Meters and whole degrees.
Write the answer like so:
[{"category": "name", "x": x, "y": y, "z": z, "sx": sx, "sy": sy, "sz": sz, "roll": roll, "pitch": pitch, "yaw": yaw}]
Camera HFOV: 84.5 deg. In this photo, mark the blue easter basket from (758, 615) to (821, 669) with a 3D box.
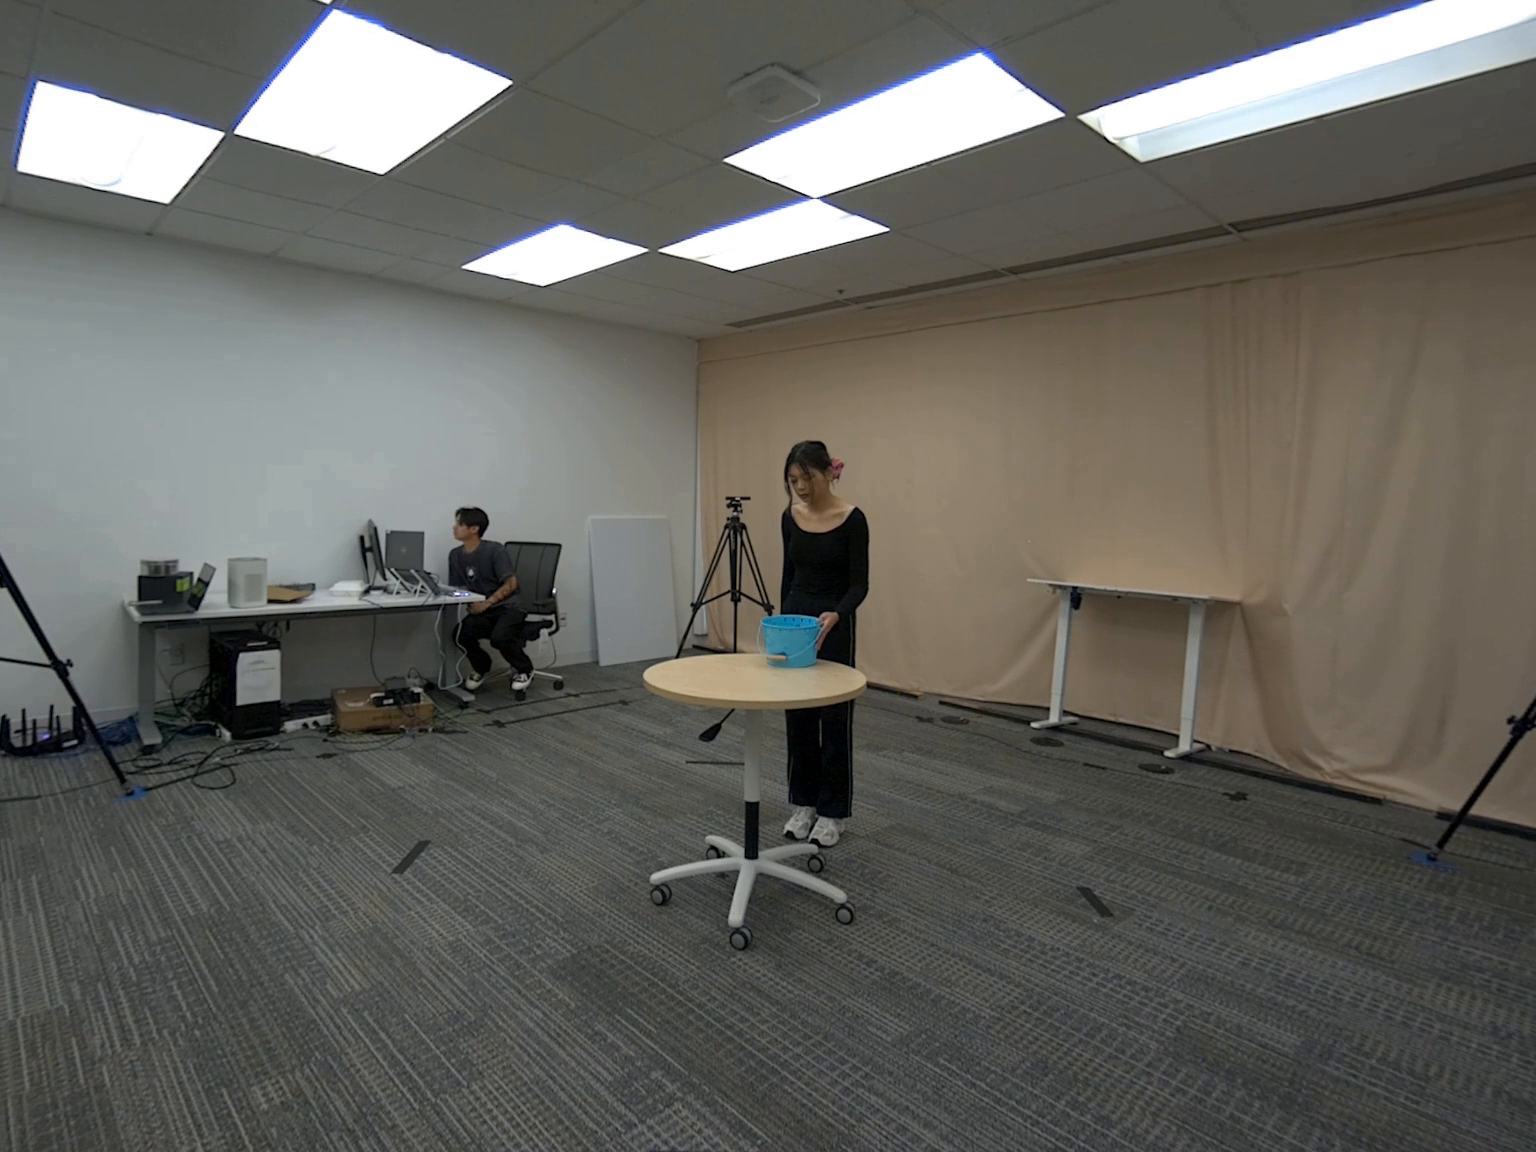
[{"category": "blue easter basket", "x": 0.067, "y": 0.248, "z": 3.126, "sx": 0.243, "sy": 0.155, "sz": 0.244, "roll": -1, "pitch": 5, "yaw": -1}]
